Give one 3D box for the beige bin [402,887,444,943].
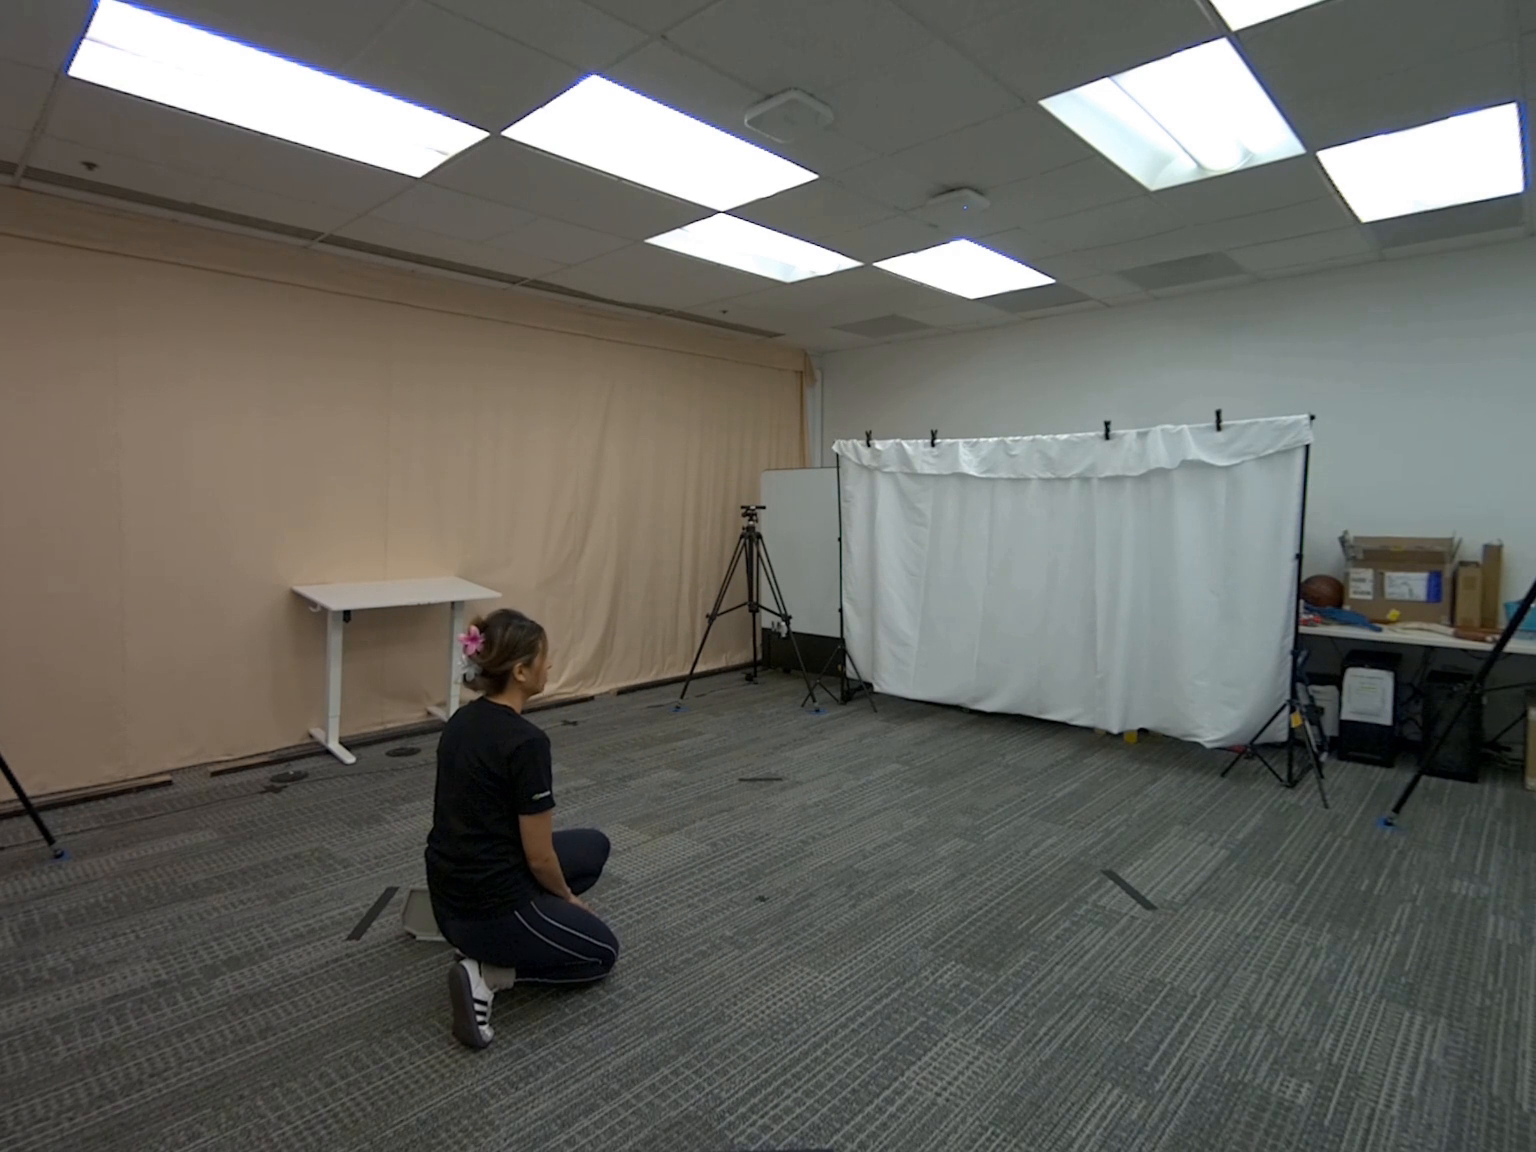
[{"bbox_3d":[-1.005,1.074,2.900,0.379,0.188,0.421,1,4,3],"label":"beige bin"}]
